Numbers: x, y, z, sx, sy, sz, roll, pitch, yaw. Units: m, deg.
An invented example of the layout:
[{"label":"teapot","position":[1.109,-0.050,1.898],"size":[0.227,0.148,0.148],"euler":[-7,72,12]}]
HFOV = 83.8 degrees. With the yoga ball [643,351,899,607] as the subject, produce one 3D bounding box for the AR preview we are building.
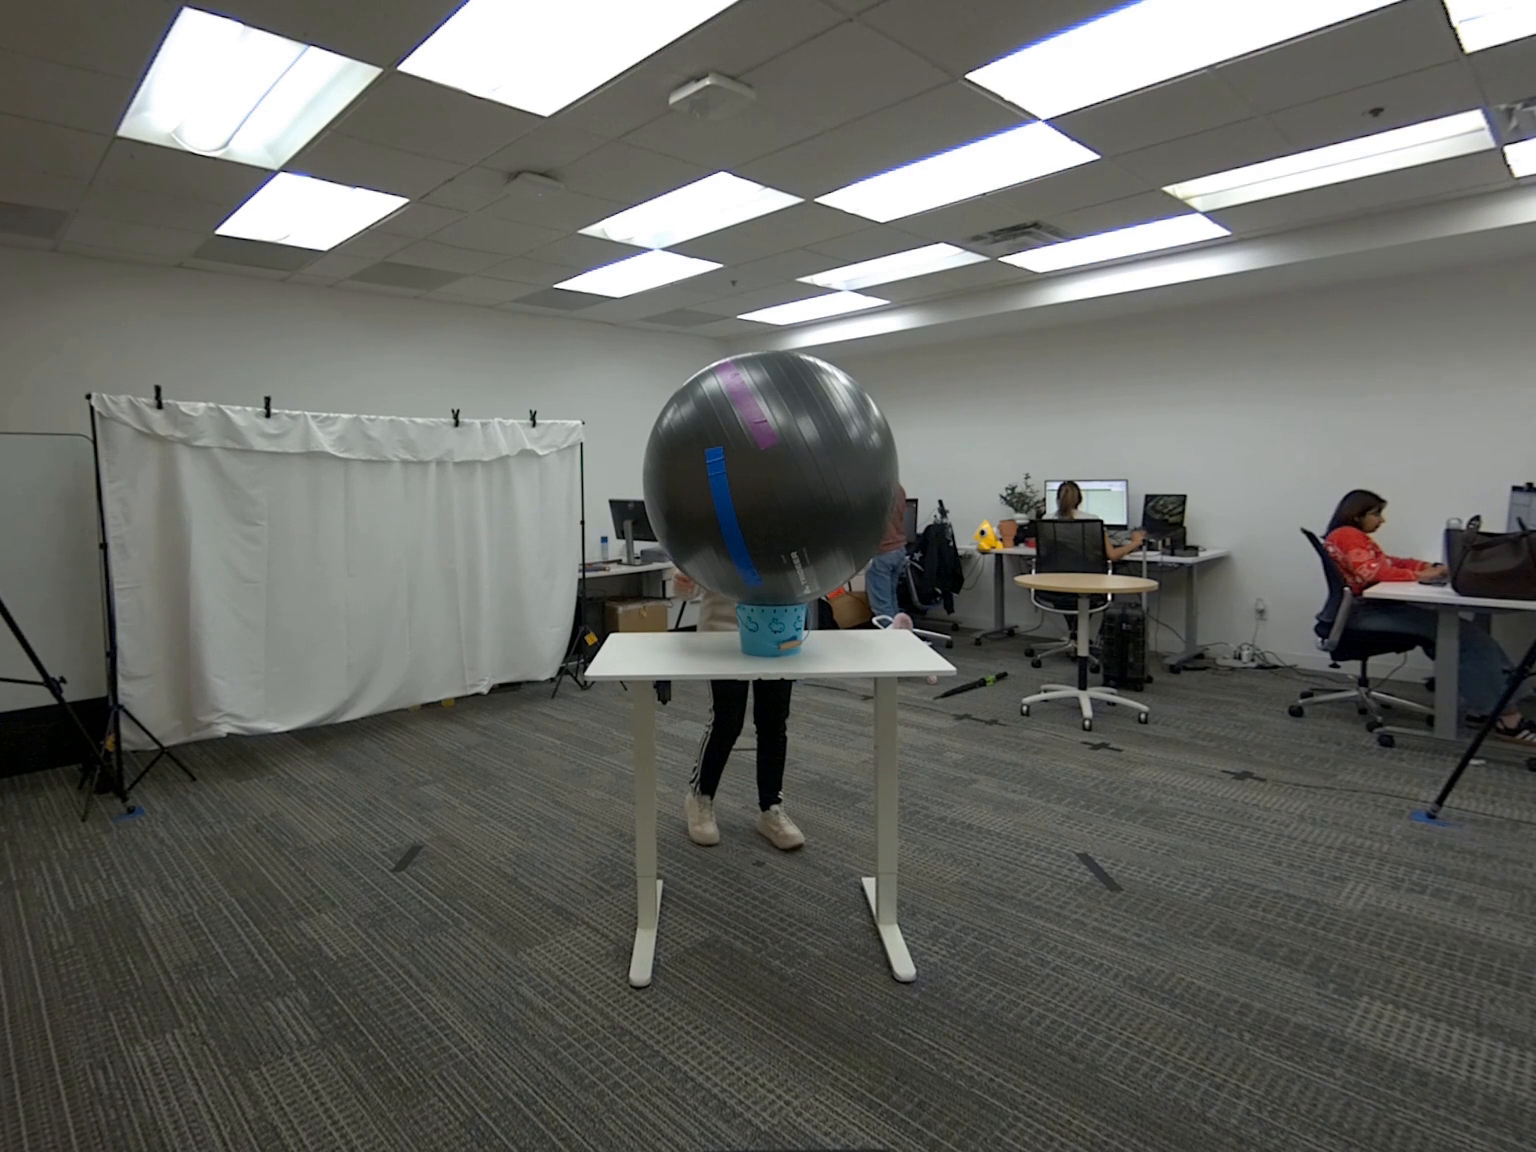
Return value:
[{"label":"yoga ball","position":[0.008,-0.282,2.544],"size":[0.757,0.755,0.762],"euler":[-1,5,-2]}]
